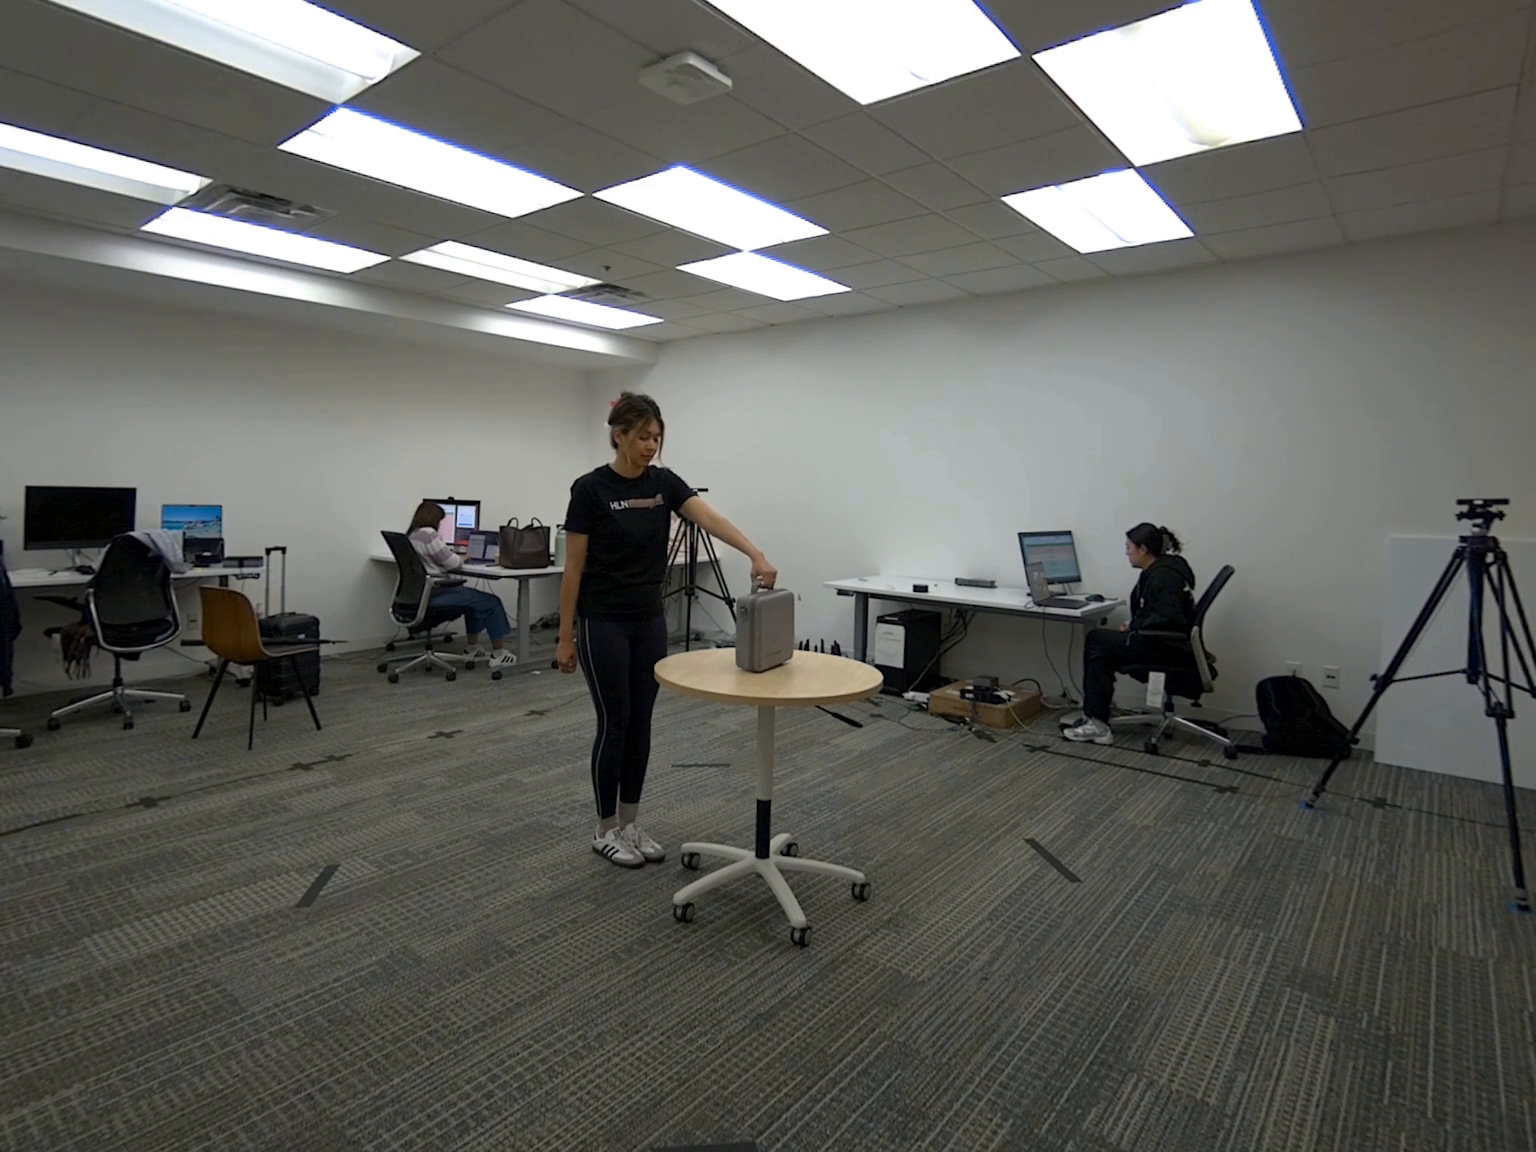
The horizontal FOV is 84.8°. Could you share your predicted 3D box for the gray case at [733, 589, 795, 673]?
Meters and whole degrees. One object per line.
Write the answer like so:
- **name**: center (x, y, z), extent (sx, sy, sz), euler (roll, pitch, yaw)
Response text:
- **gray case**: center (-0.019, 0.174, 2.907), extent (0.107, 0.260, 0.250), euler (1, 5, 31)
